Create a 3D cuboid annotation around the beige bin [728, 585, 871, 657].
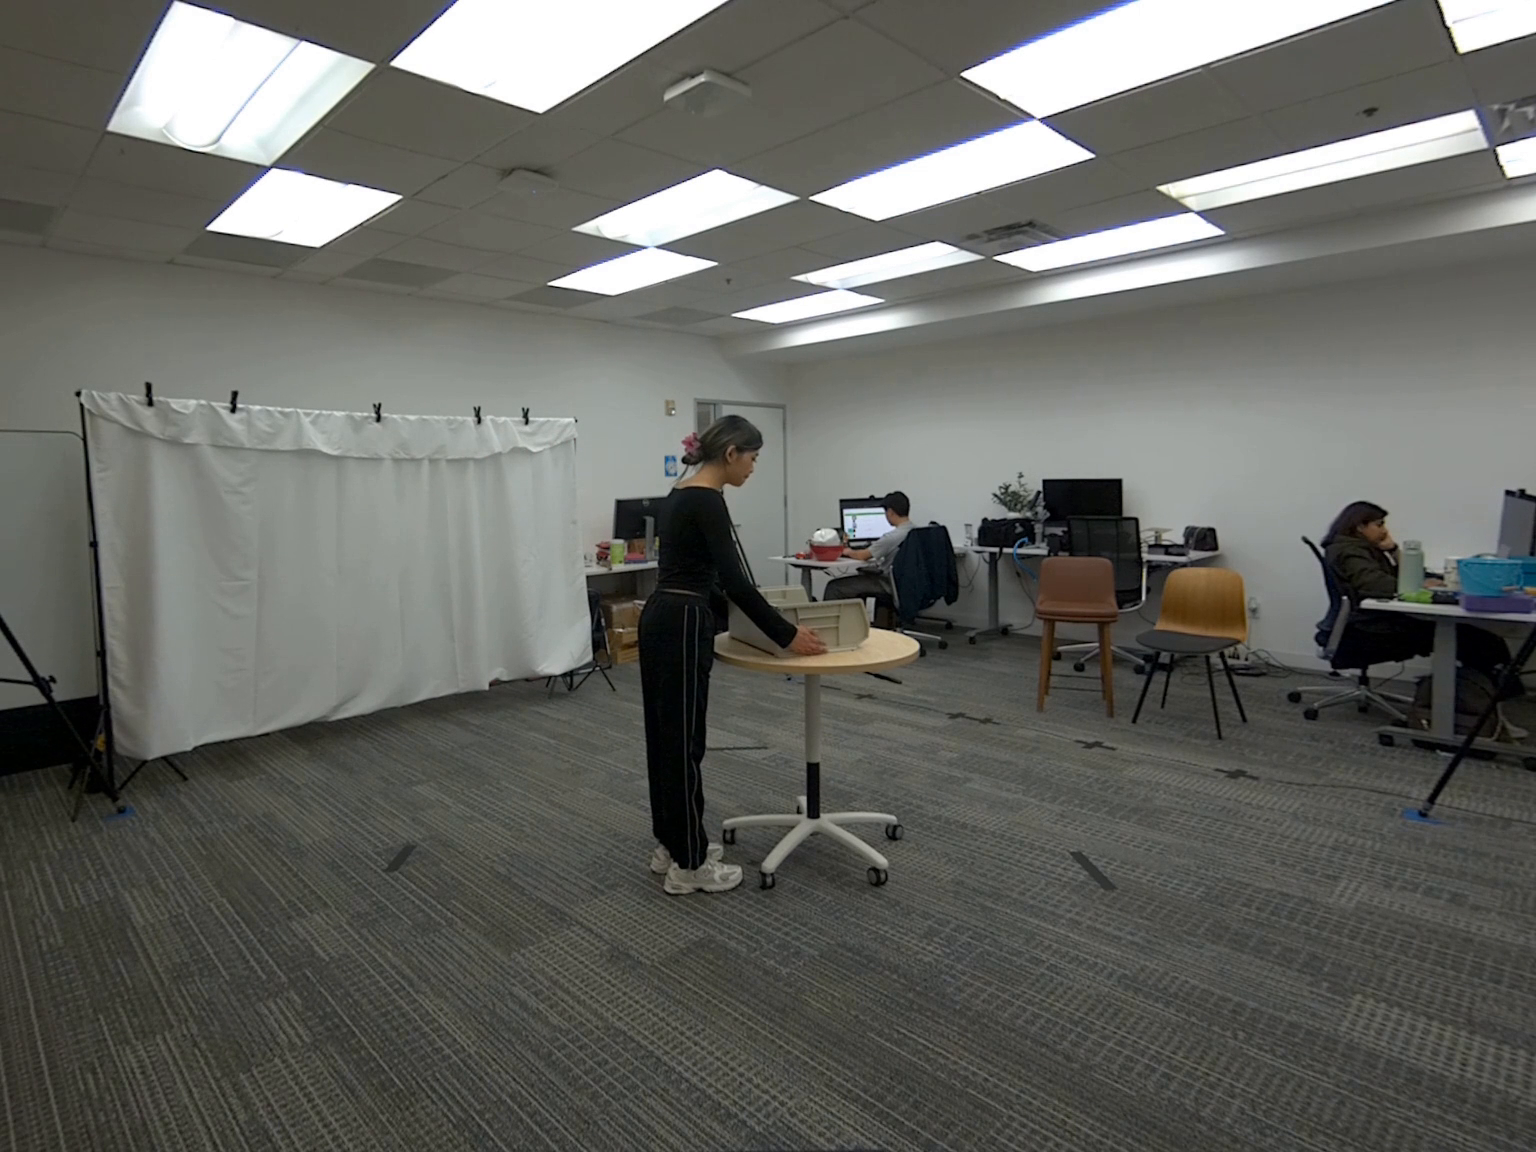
[{"bbox_3d":[0.101,0.155,3.113,0.370,0.188,0.433,-5,7,-25],"label":"beige bin"}]
